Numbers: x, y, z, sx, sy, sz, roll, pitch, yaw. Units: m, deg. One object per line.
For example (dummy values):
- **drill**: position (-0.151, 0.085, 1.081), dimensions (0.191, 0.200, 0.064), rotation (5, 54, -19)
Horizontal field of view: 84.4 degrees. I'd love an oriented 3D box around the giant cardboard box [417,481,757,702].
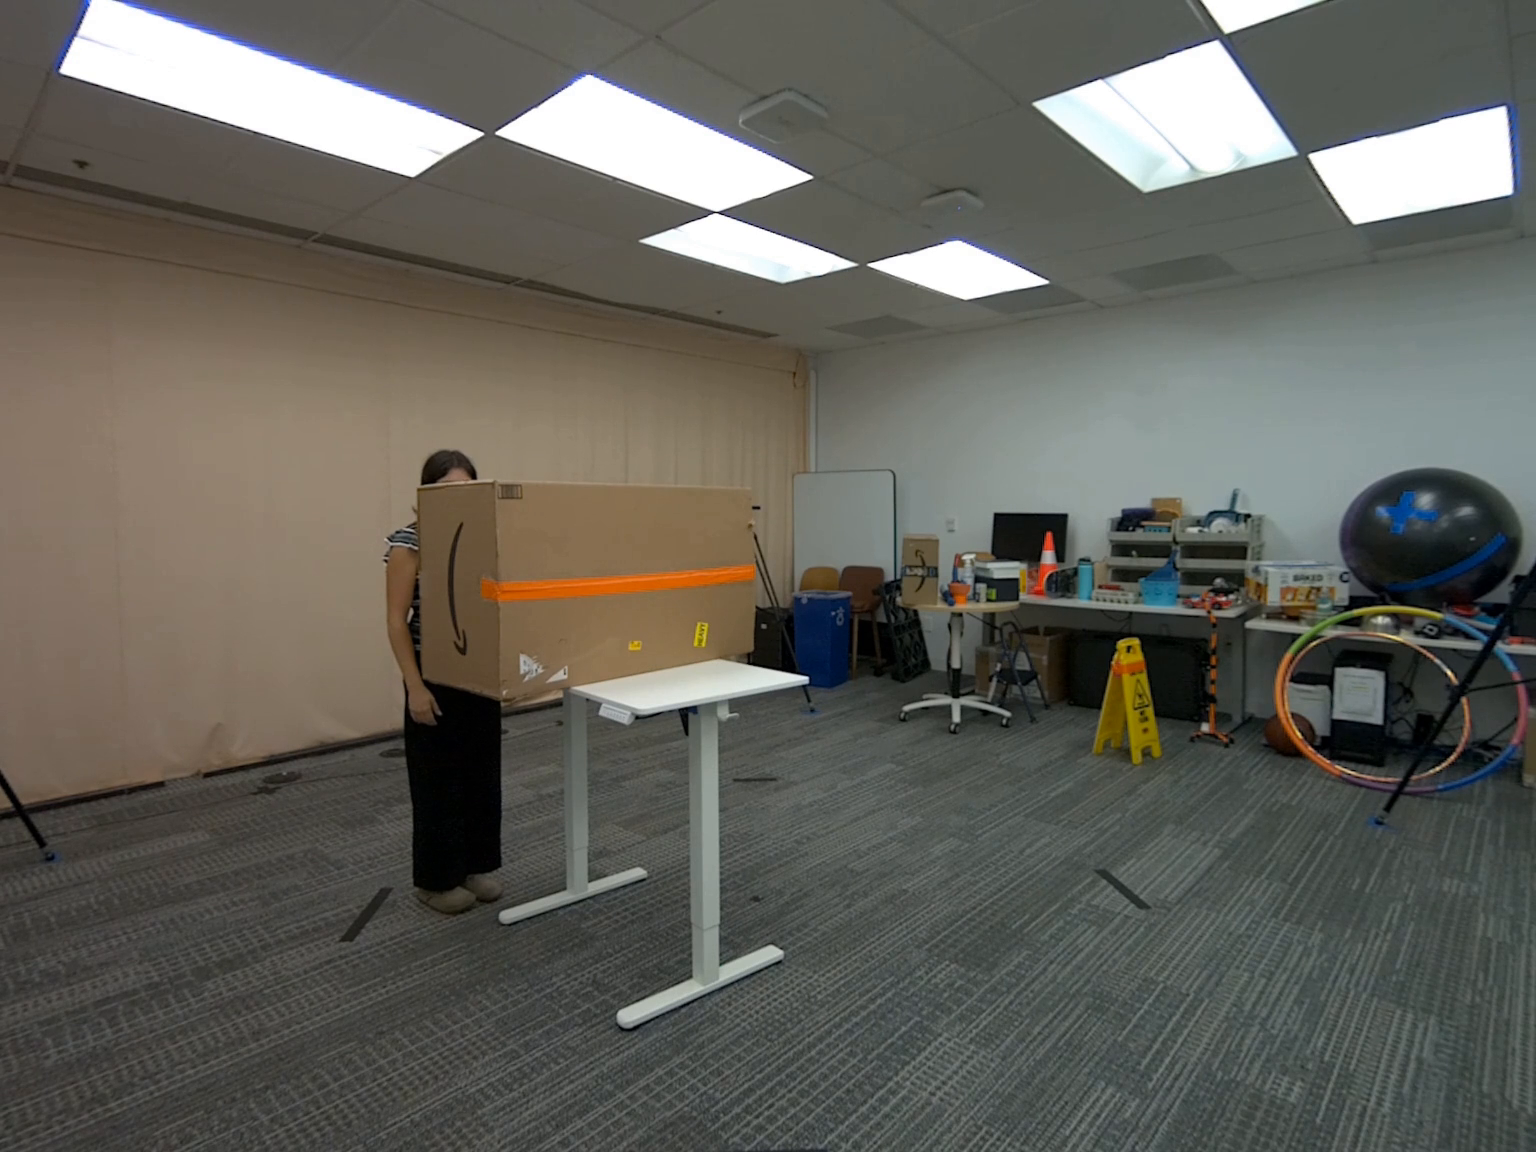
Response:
- **giant cardboard box**: position (-0.534, 0.002, 2.700), dimensions (0.440, 0.576, 0.994), rotation (3, 5, 42)
